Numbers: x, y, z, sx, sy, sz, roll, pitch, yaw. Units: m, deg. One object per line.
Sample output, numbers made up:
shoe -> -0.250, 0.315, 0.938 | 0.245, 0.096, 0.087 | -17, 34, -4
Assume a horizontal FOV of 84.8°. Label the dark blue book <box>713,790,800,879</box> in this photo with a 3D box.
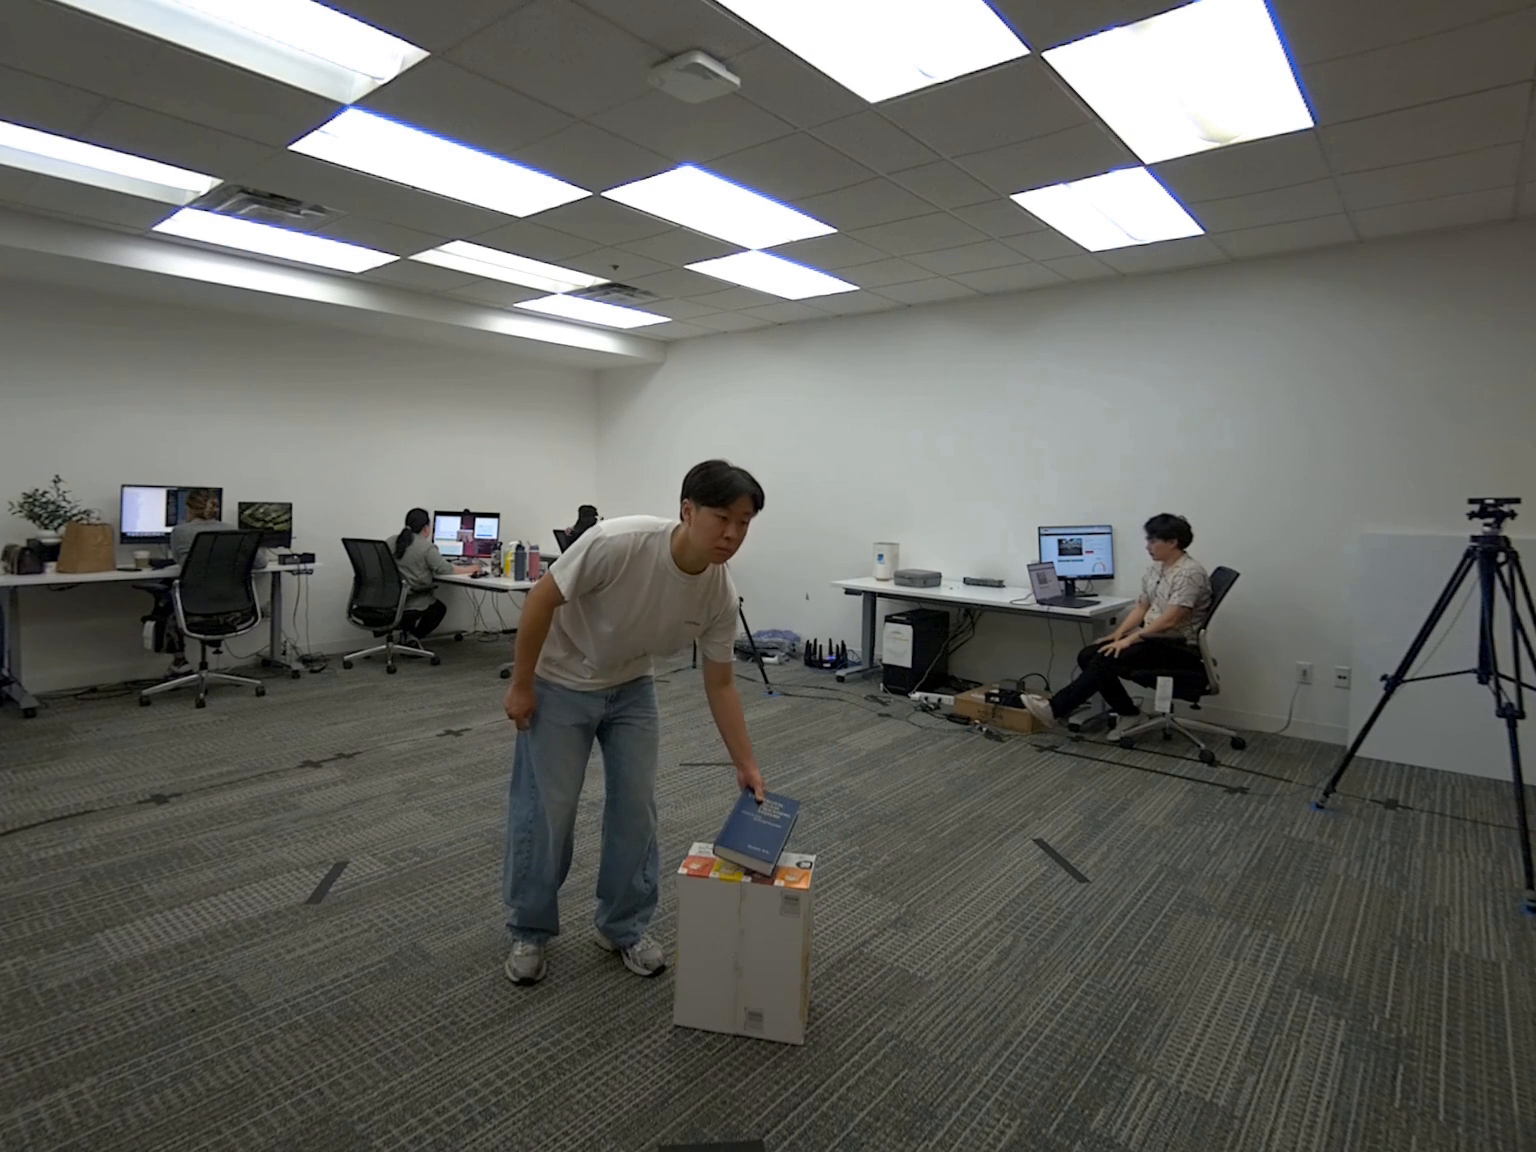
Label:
dark blue book -> -0.027, 0.667, 2.262 | 0.167, 0.044, 0.245 | 12, 27, 15
